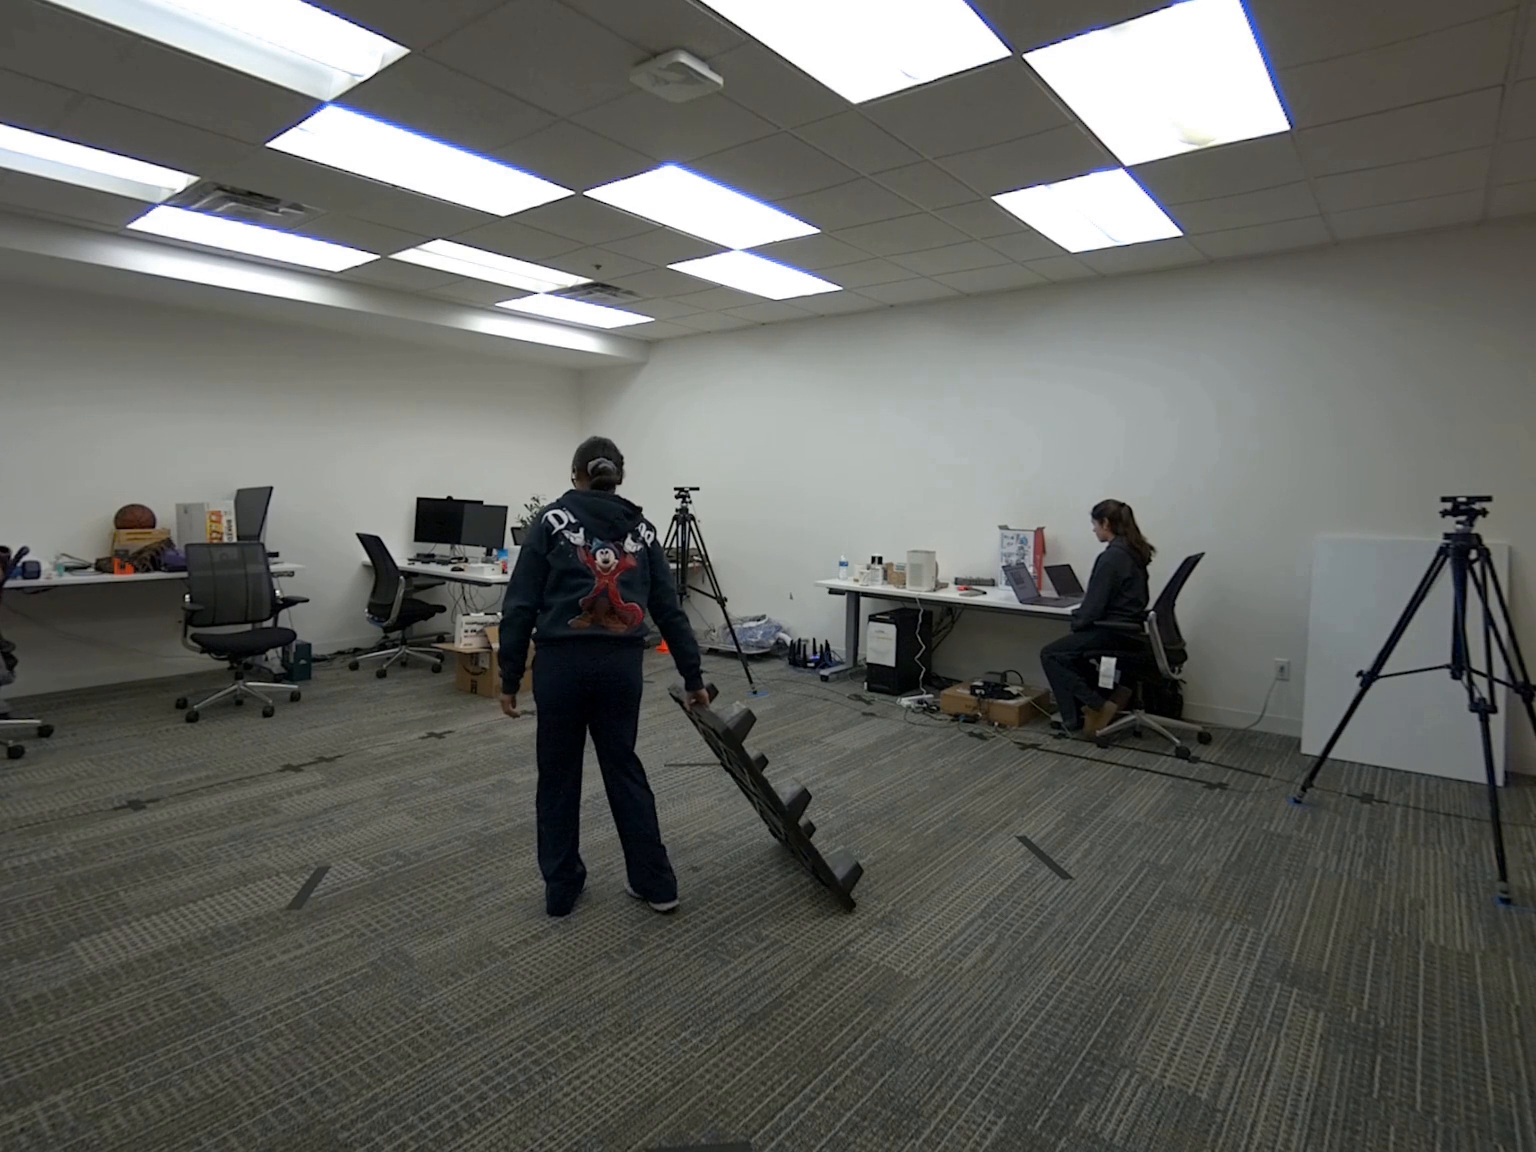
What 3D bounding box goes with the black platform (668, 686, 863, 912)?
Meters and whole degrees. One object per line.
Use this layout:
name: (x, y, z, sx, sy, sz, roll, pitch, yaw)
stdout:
black platform: (-0.016, 0.728, 2.994, 0.143, 0.789, 0.620, -38, 16, -14)
